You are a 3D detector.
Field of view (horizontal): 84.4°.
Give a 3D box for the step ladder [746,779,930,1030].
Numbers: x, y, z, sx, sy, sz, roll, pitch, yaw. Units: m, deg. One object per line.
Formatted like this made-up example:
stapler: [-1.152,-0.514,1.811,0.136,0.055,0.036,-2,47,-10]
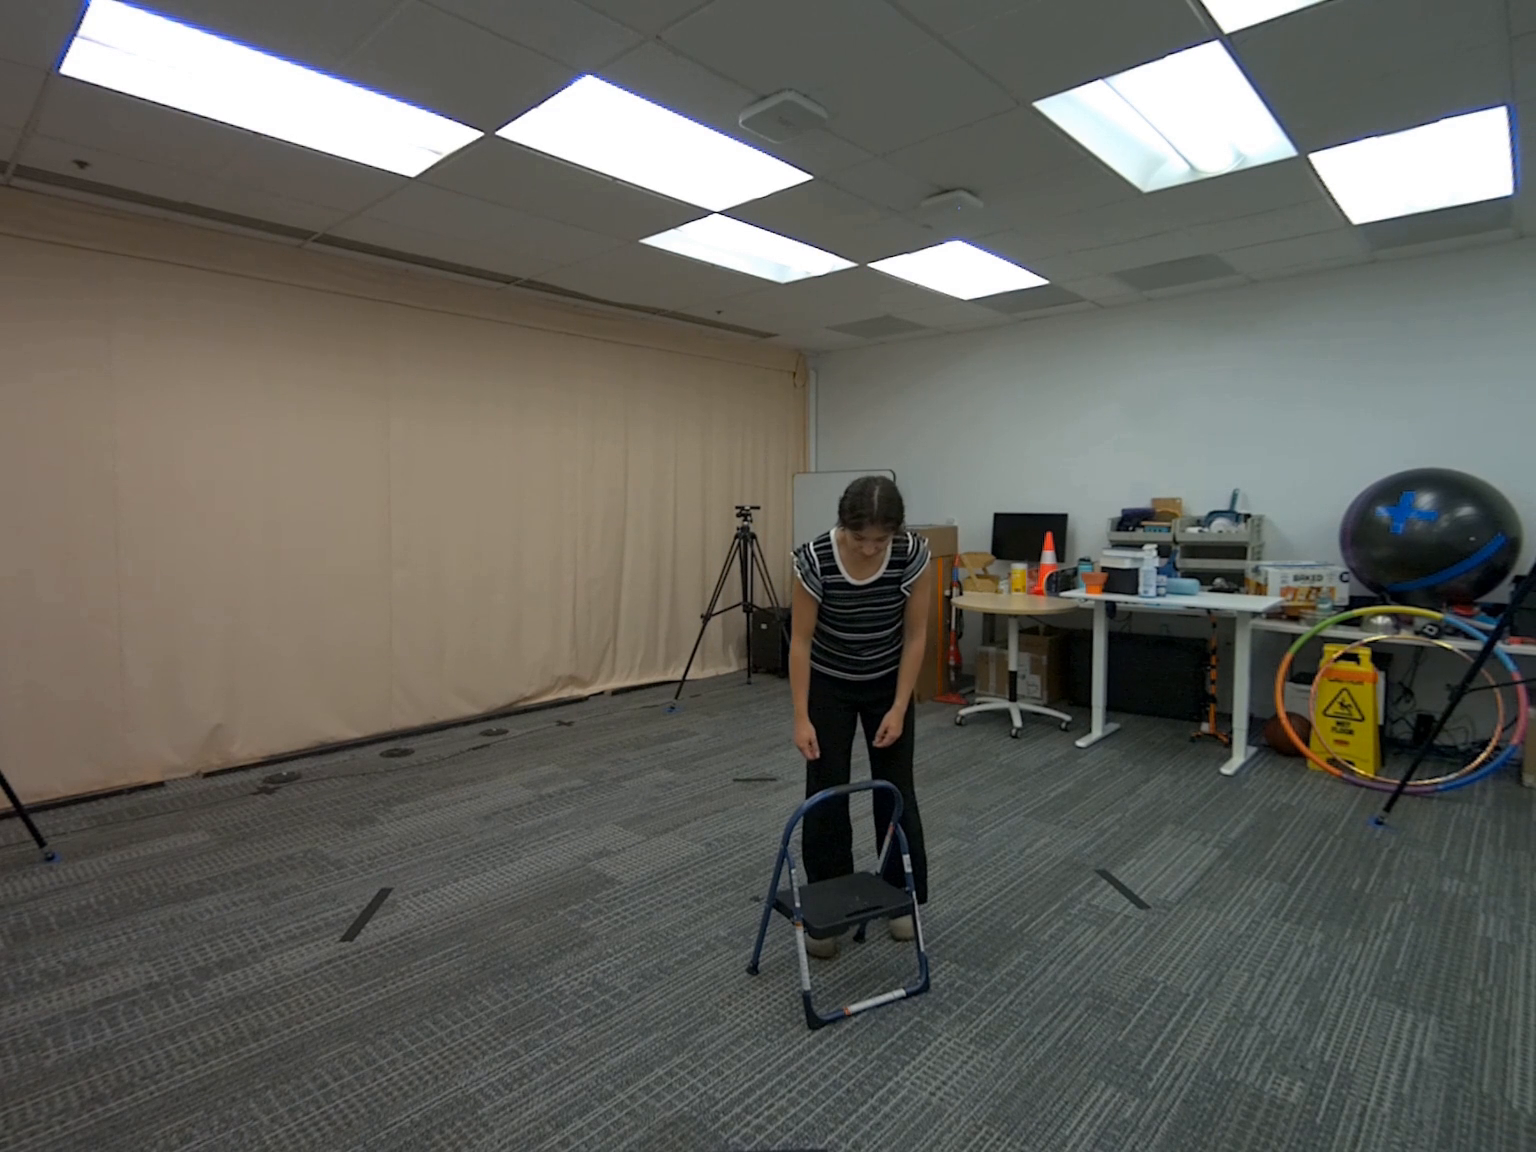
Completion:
step ladder: [0.208,0.885,2.452,0.419,0.604,0.359,-2,5,-29]
